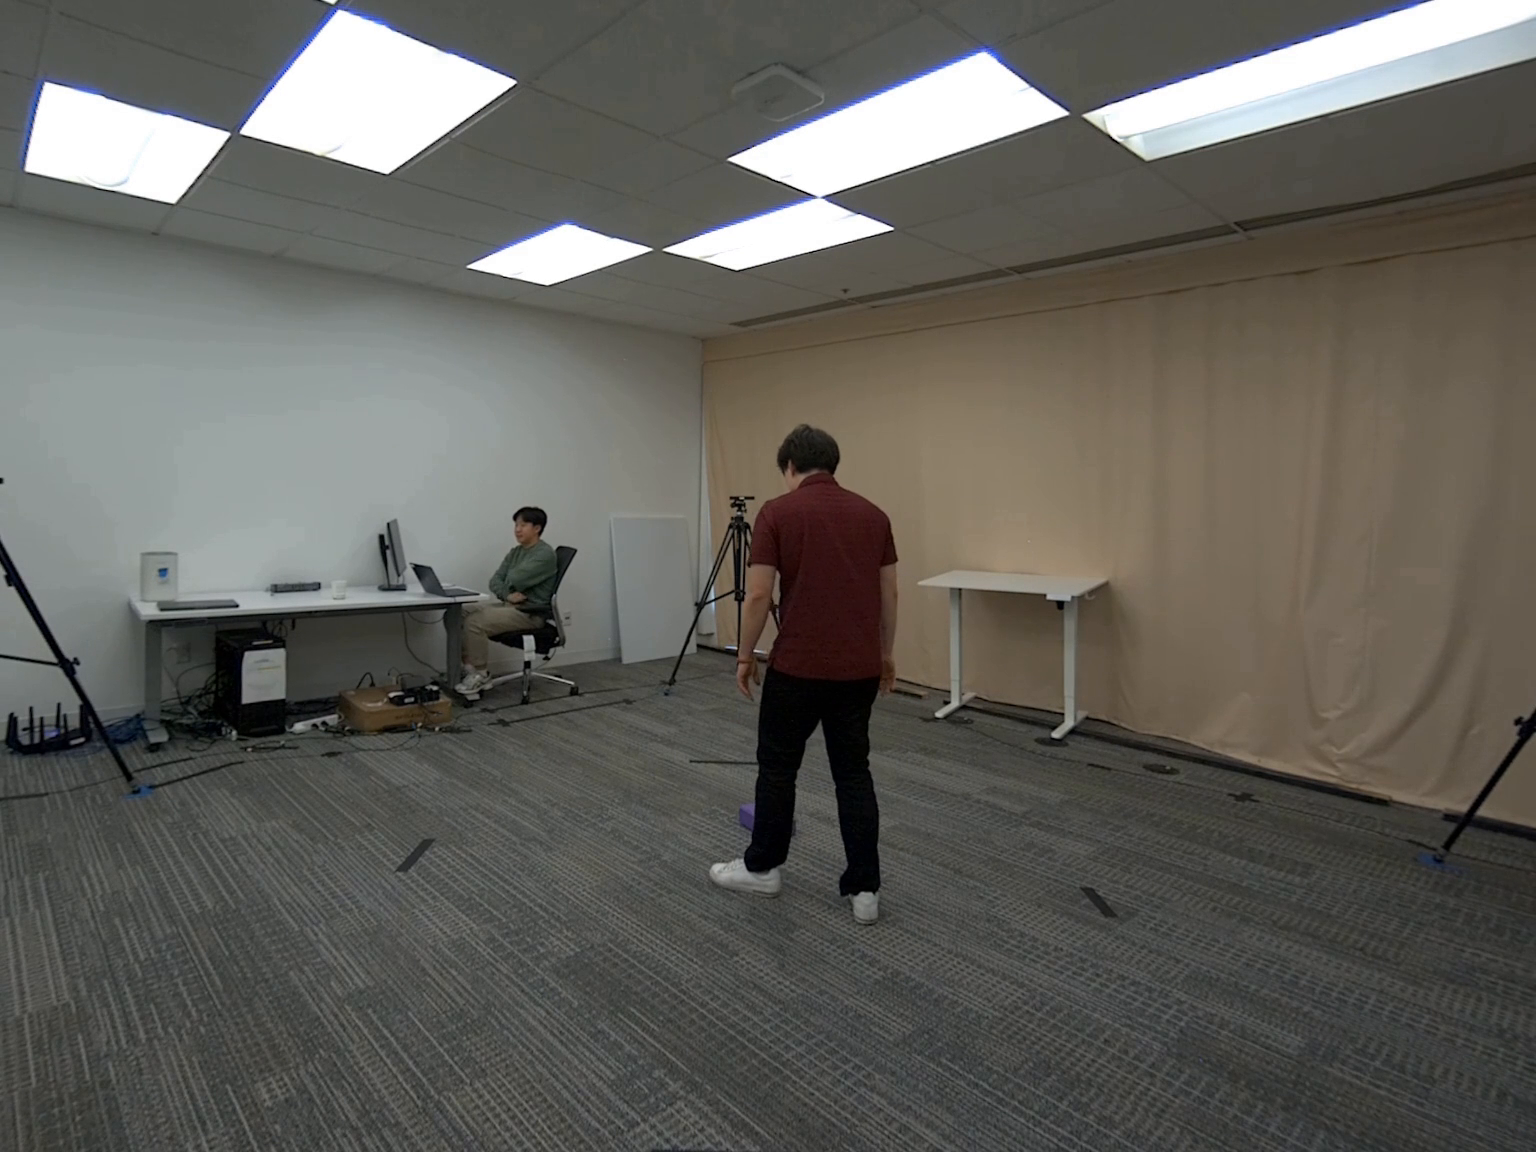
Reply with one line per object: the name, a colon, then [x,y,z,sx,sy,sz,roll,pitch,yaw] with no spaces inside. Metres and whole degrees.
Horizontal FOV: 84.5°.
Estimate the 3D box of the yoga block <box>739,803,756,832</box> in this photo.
yoga block: [-0.008,1.033,3.550,0.146,0.076,0.235,-1,5,-32]
